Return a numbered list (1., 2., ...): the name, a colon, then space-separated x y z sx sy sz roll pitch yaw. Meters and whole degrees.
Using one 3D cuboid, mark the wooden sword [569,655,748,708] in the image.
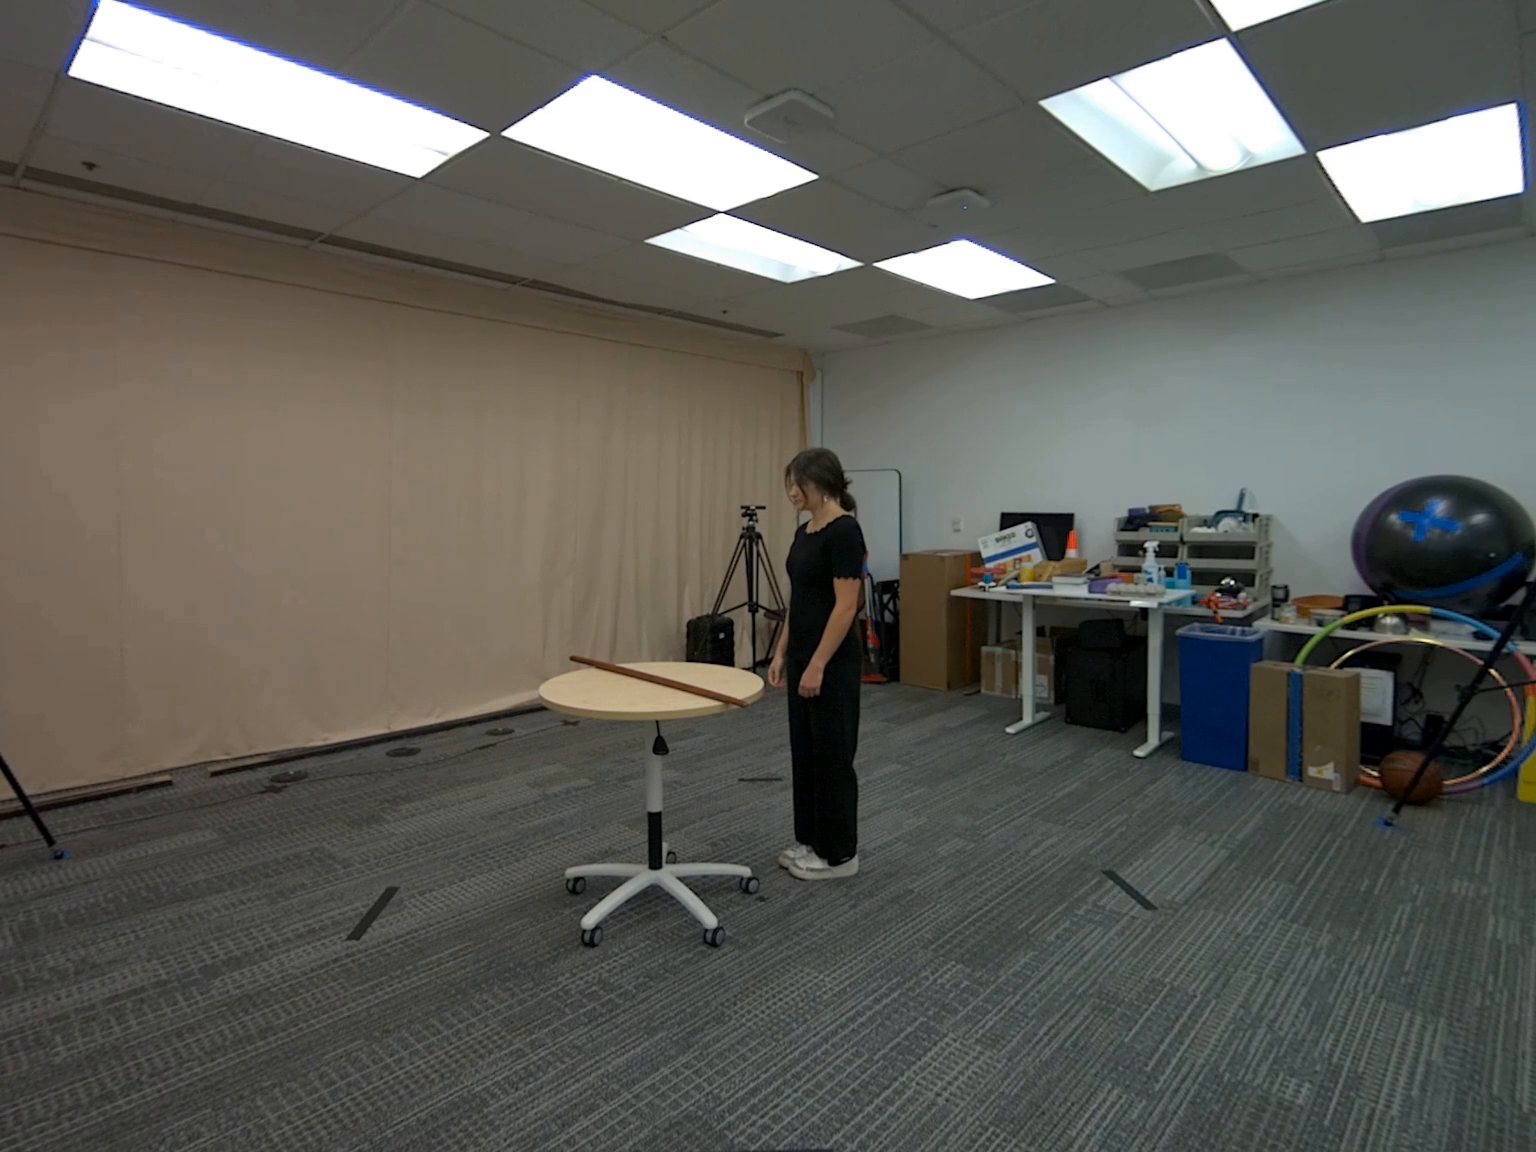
1. wooden sword: -0.418 0.360 2.944 1.059 0.024 0.049 4 -3 43
